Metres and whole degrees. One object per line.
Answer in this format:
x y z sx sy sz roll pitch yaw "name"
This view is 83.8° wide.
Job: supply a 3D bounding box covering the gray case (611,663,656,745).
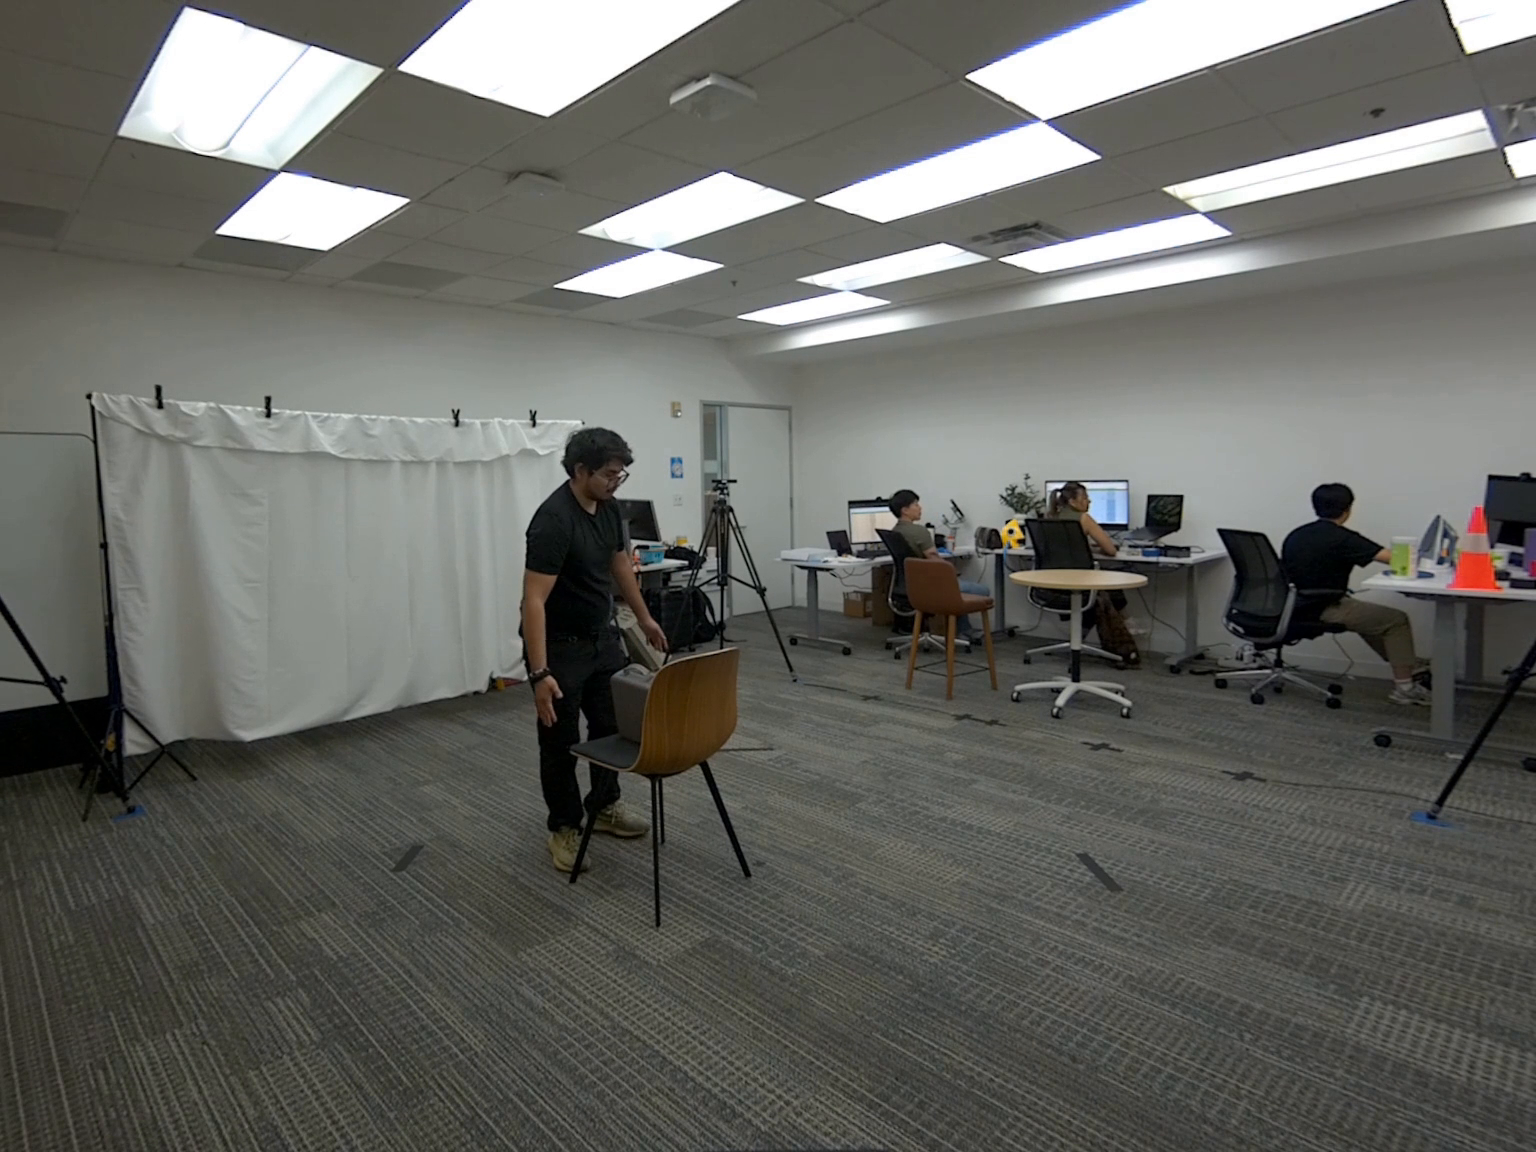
-0.435 0.465 3.001 0.265 0.256 0.103 9 23 40 "gray case"
